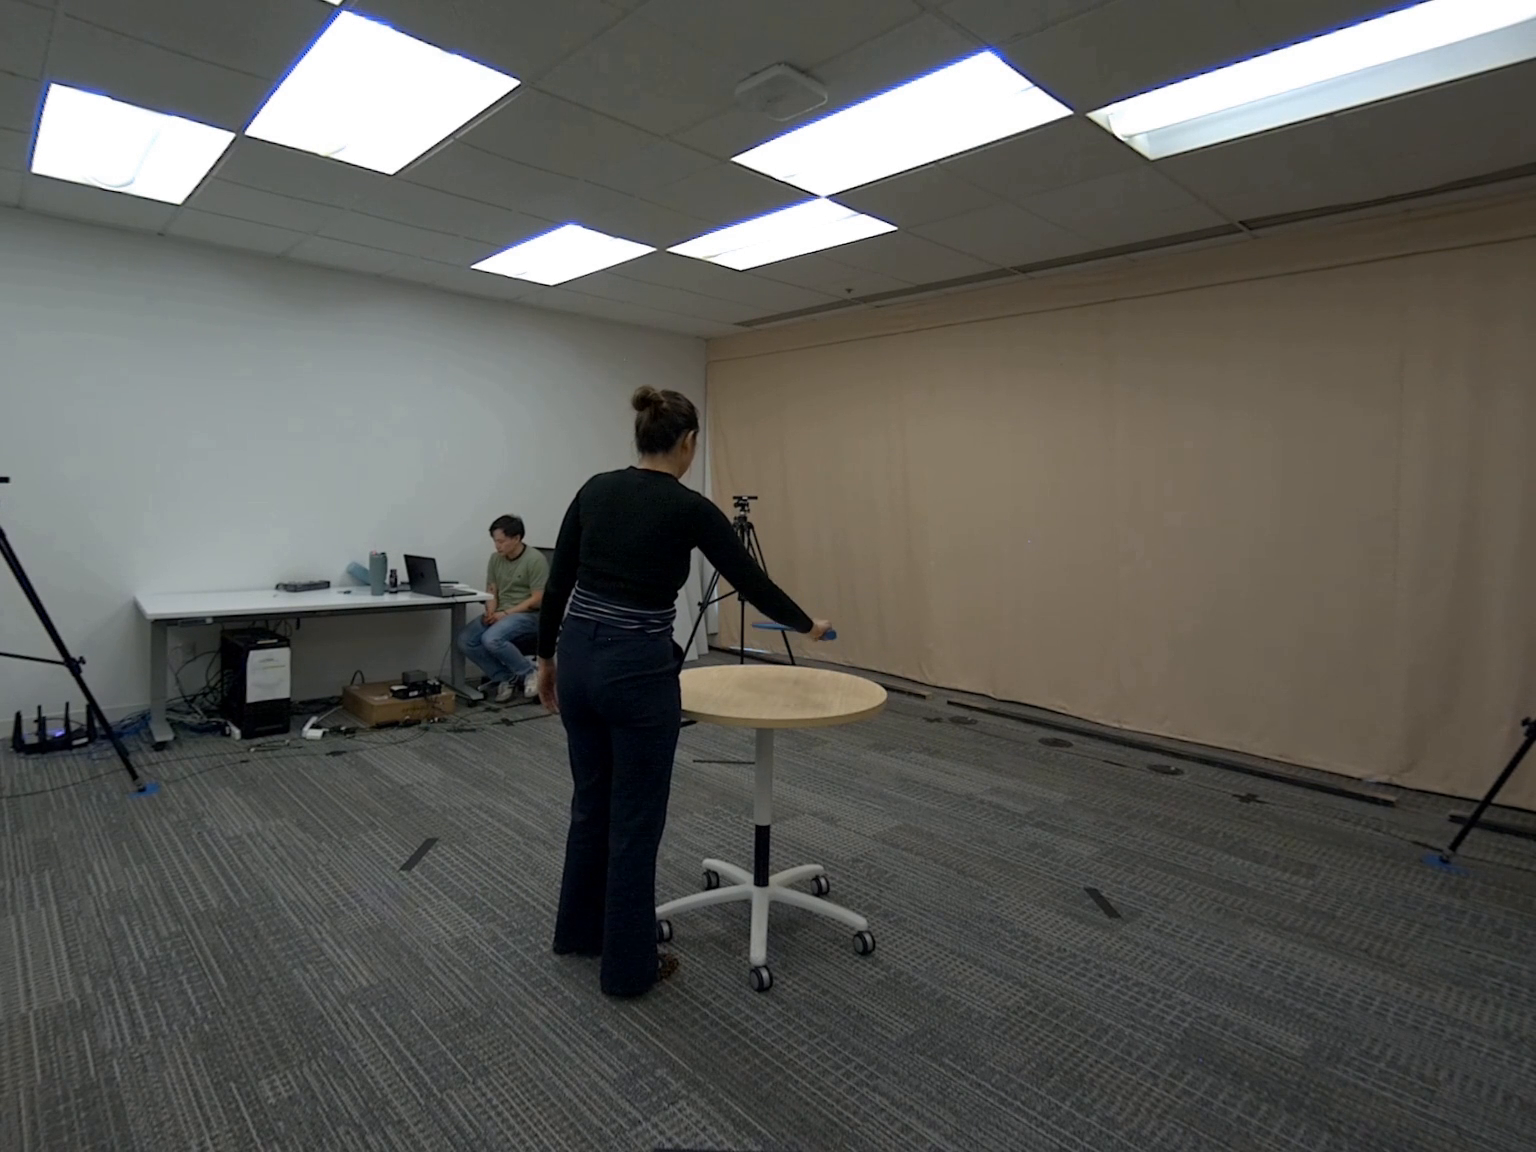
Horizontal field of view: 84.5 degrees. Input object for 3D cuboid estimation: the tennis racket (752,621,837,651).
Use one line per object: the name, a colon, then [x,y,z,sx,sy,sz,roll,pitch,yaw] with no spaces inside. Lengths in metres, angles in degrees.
tennis racket: [0.074,0.178,2.698,0.210,0.032,0.440,1,0,-23]
